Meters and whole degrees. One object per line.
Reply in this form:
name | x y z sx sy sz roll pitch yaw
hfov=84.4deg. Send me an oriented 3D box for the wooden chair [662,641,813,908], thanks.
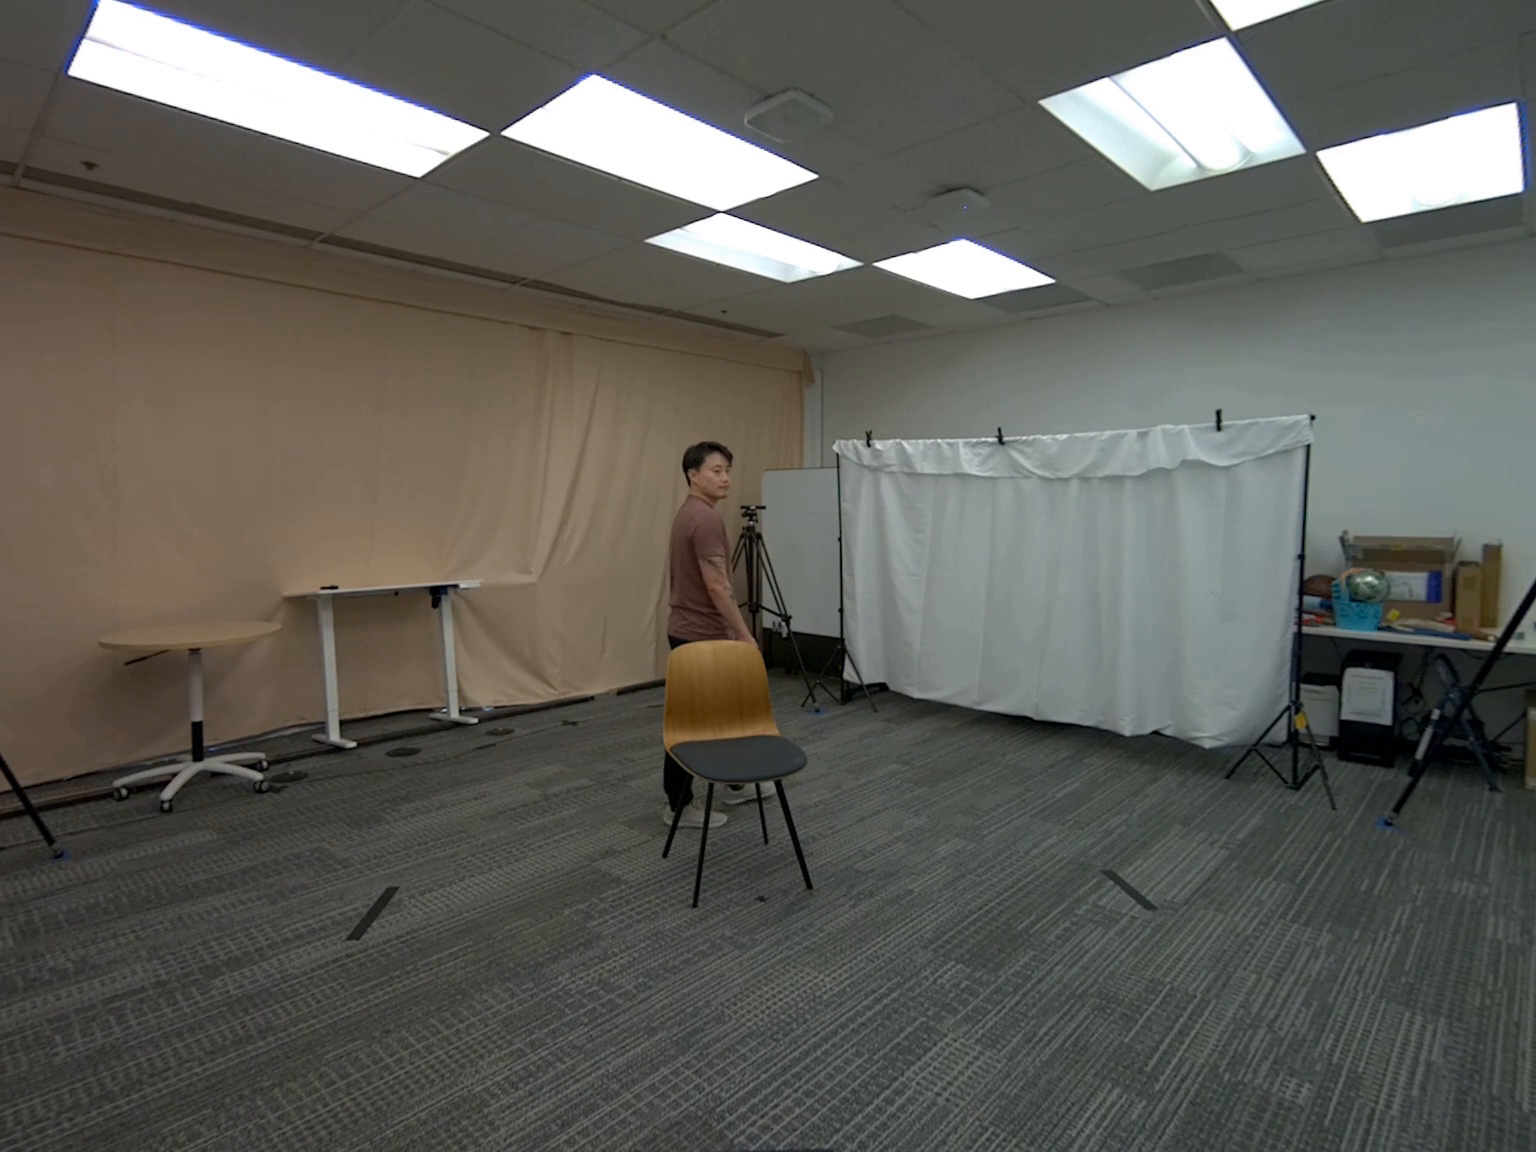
wooden chair | -0.124 0.703 3.159 0.469 0.878 0.533 -1 -1 -19
